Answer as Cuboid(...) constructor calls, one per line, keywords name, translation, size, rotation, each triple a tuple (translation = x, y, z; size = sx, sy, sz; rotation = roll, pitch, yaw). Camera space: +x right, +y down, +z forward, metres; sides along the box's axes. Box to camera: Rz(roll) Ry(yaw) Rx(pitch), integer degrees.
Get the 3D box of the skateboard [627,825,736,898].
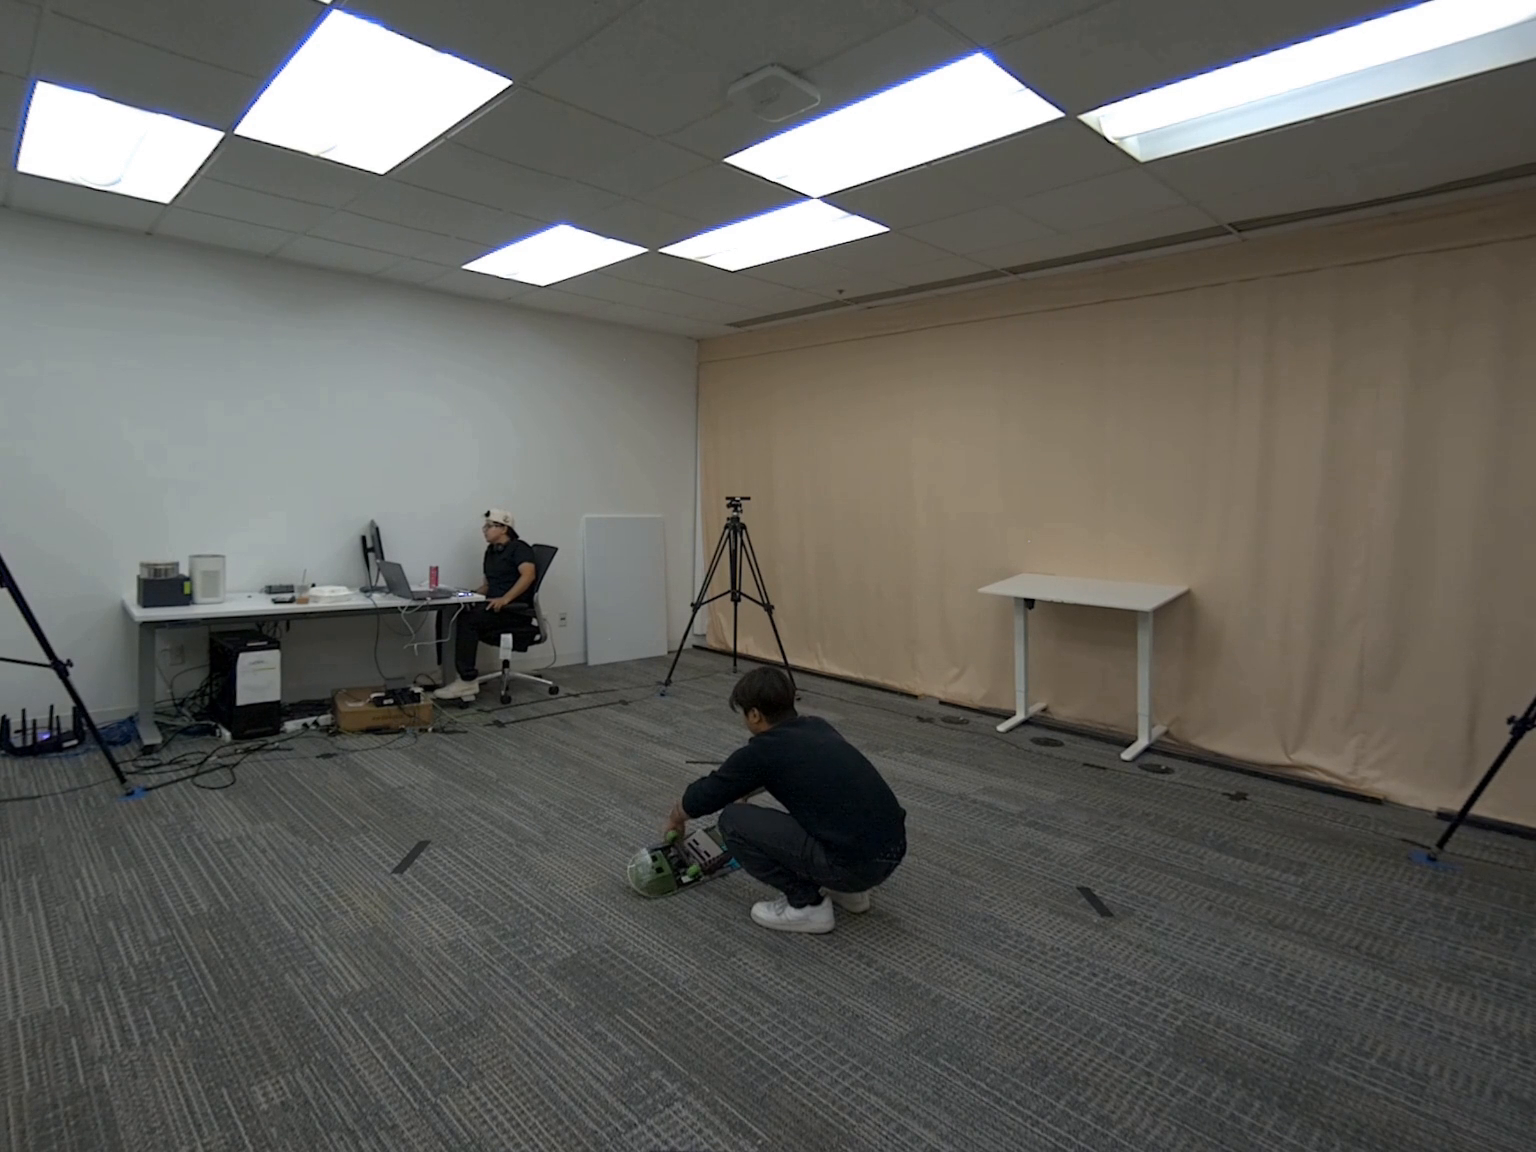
Cuboid(name="skateboard", translation=(-0.193, 1.013, 3.184), size=(0.768, 0.109, 0.199), rotation=(-4, 41, -43))
